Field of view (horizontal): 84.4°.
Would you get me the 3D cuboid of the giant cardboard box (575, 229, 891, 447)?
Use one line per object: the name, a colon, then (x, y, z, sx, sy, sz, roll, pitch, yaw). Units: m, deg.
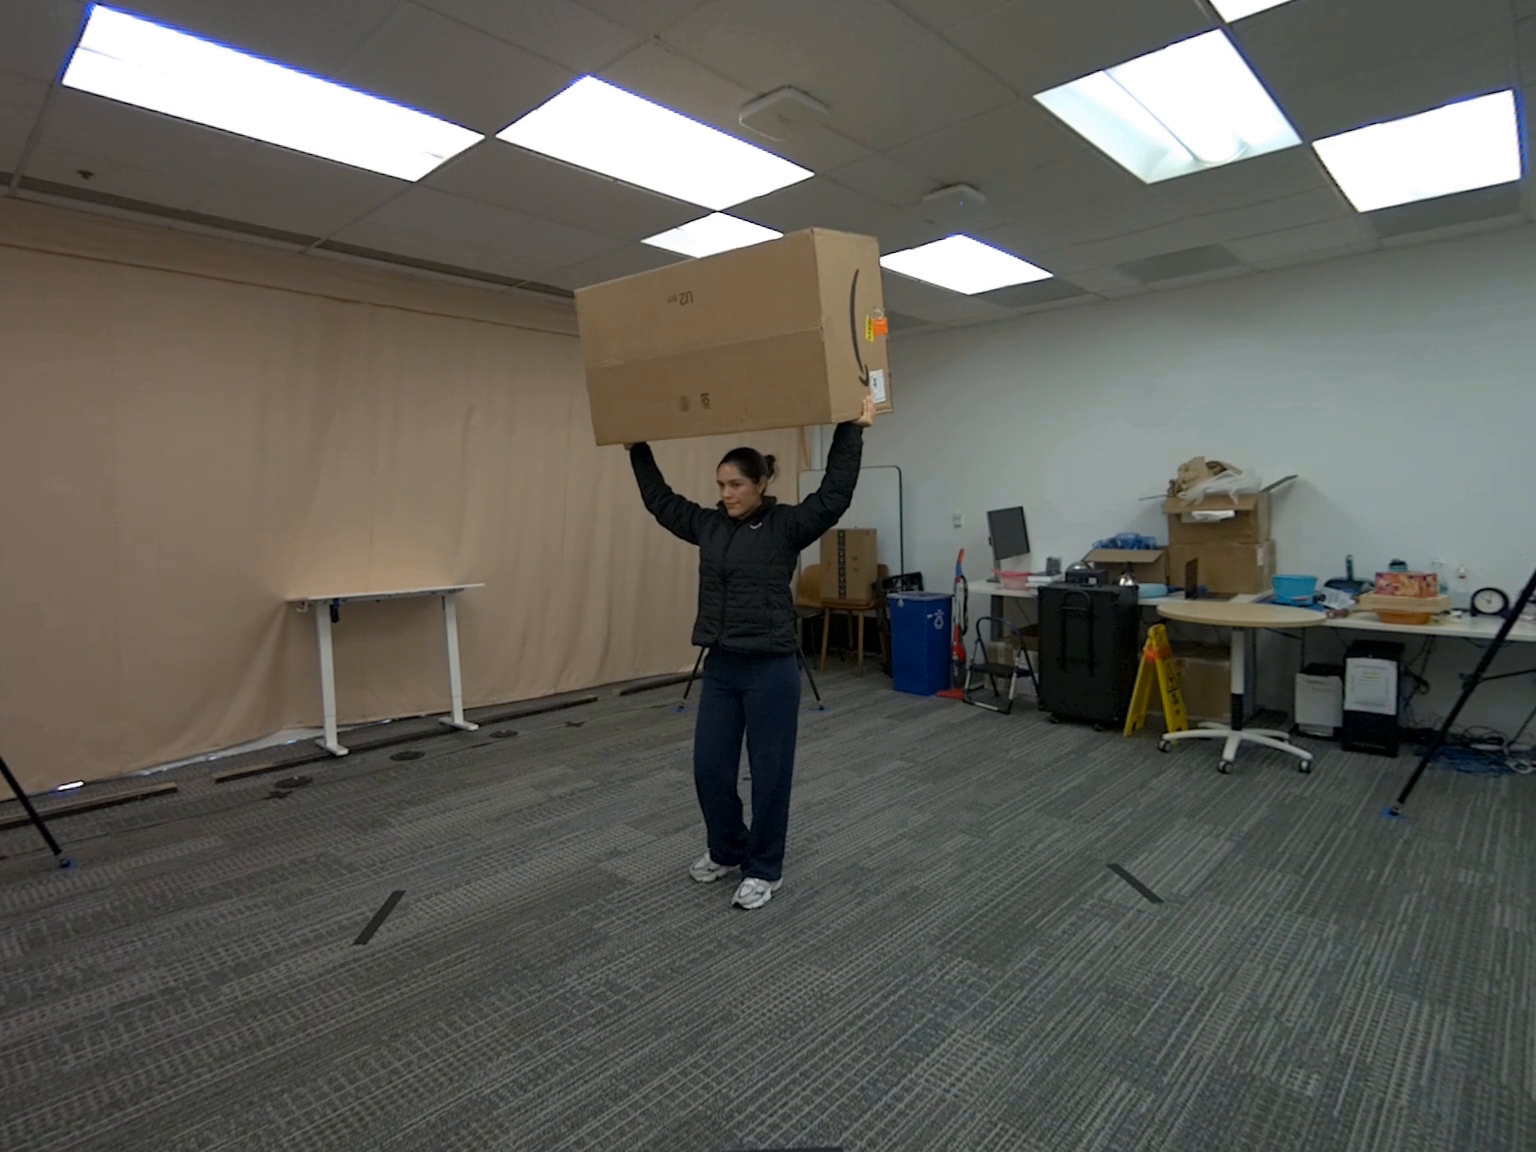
giant cardboard box: (-0.126, -0.794, 2.967, 1.059, 0.580, 0.436, 2, 12, 36)
